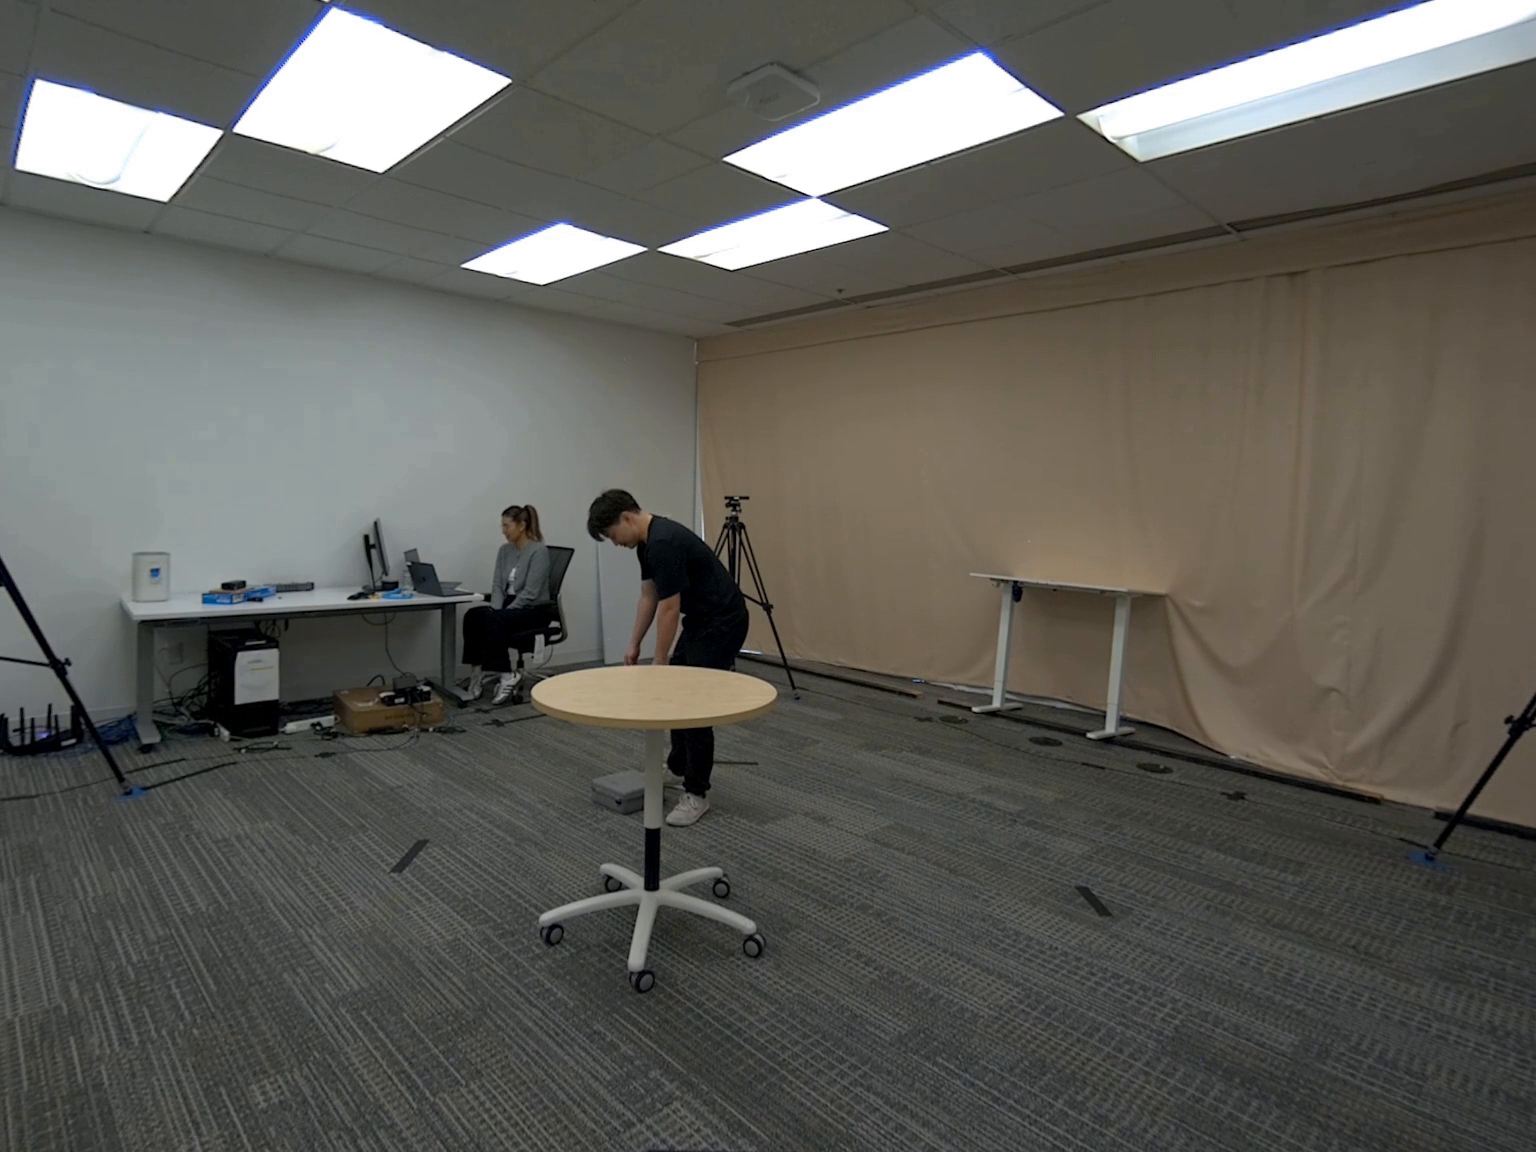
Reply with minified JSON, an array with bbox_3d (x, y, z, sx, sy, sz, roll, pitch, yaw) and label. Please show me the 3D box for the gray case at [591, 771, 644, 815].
[{"bbox_3d":[-0.645,0.972,3.828,0.263,0.104,0.255,5,5,42],"label":"gray case"}]
